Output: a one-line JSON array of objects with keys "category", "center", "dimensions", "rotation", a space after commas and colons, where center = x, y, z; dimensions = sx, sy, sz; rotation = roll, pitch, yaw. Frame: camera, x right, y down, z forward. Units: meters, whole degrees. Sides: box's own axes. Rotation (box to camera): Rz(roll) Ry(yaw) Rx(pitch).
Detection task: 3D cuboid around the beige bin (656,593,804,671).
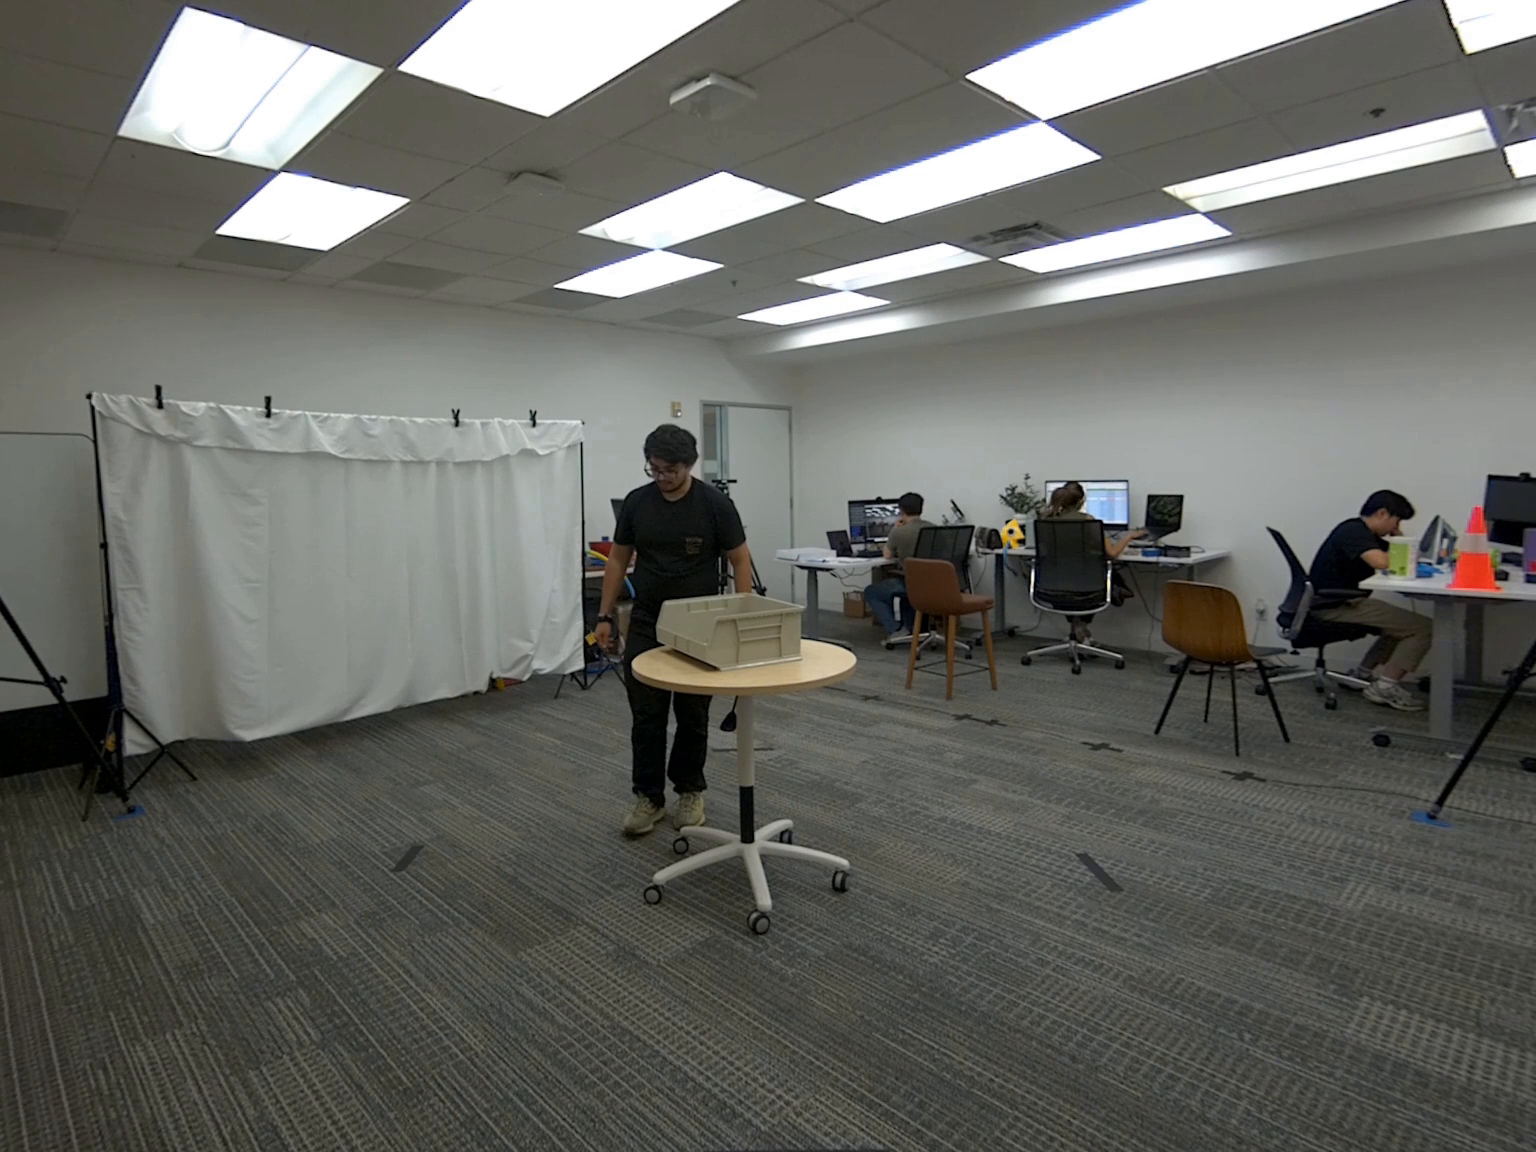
[{"category": "beige bin", "center": [-0.137, 0.189, 2.977], "dimensions": [0.368, 0.188, 0.434], "rotation": [-3, 4, -32]}]
